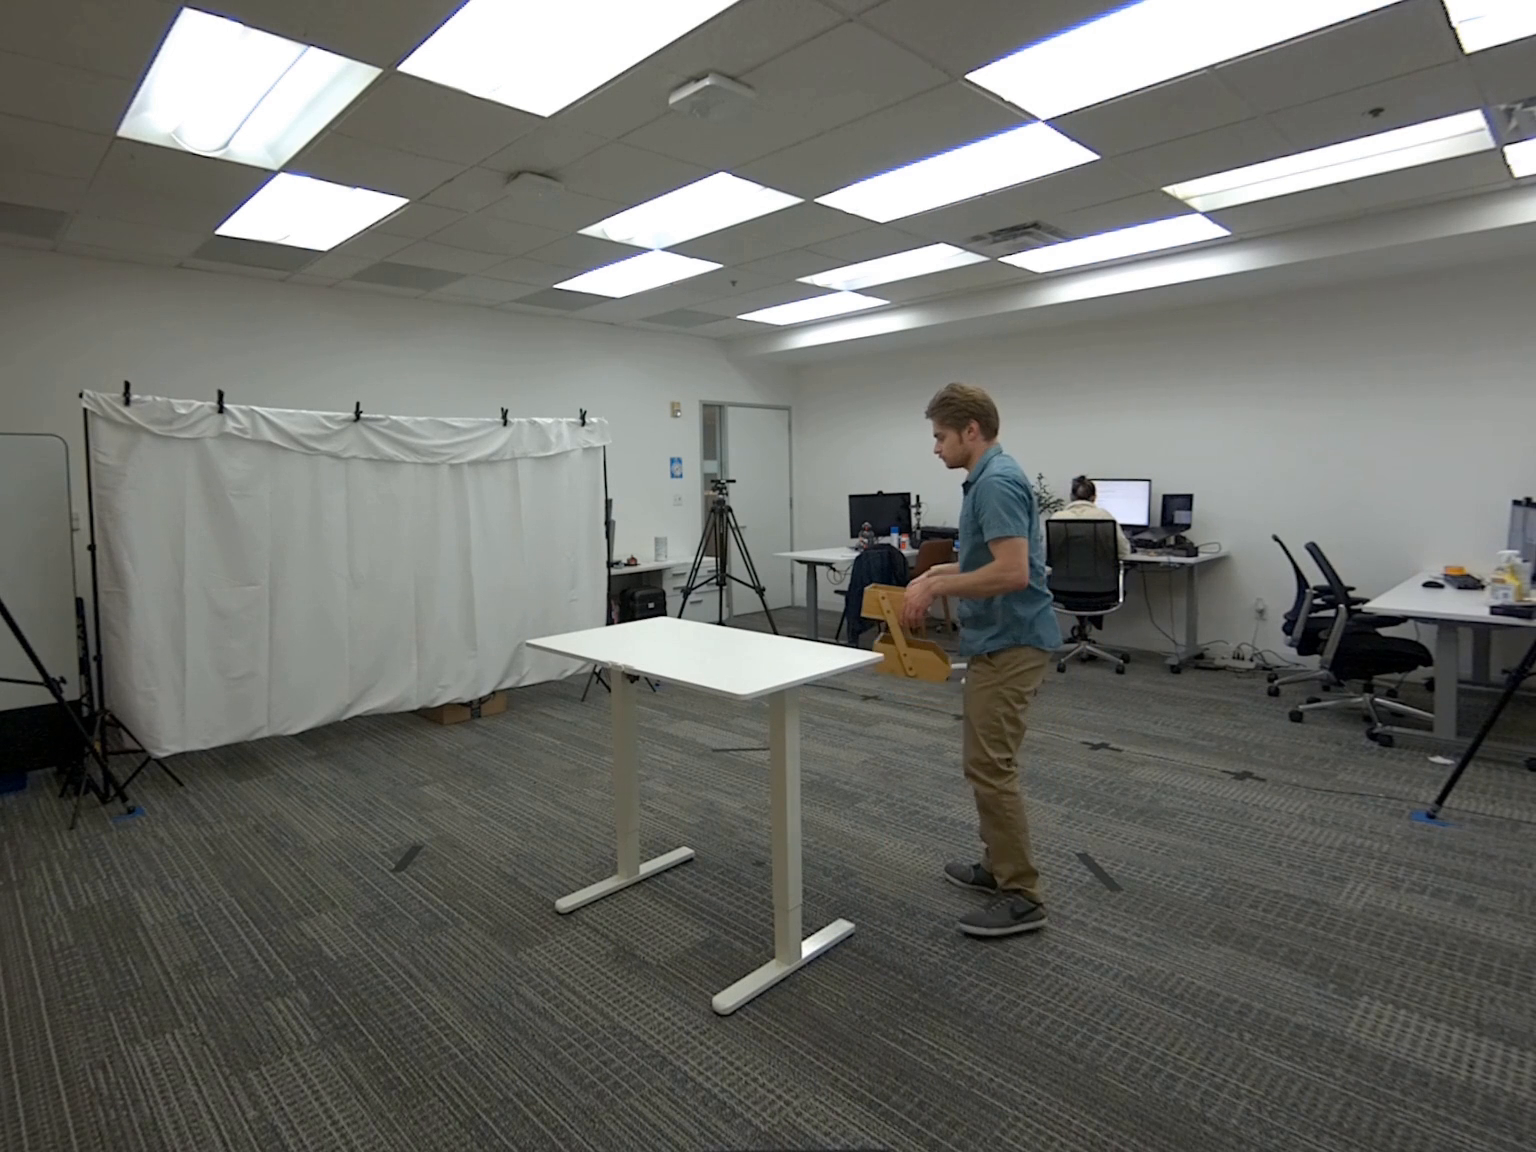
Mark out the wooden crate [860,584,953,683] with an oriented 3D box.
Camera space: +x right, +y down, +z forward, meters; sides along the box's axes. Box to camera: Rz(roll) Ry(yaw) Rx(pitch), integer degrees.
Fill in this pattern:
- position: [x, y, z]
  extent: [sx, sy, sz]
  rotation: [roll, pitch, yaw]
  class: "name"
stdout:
- position: [0.486, 0.174, 2.844]
  extent: [0.306, 0.273, 0.321]
  rotation: [4, 2, 12]
  class: "wooden crate"
